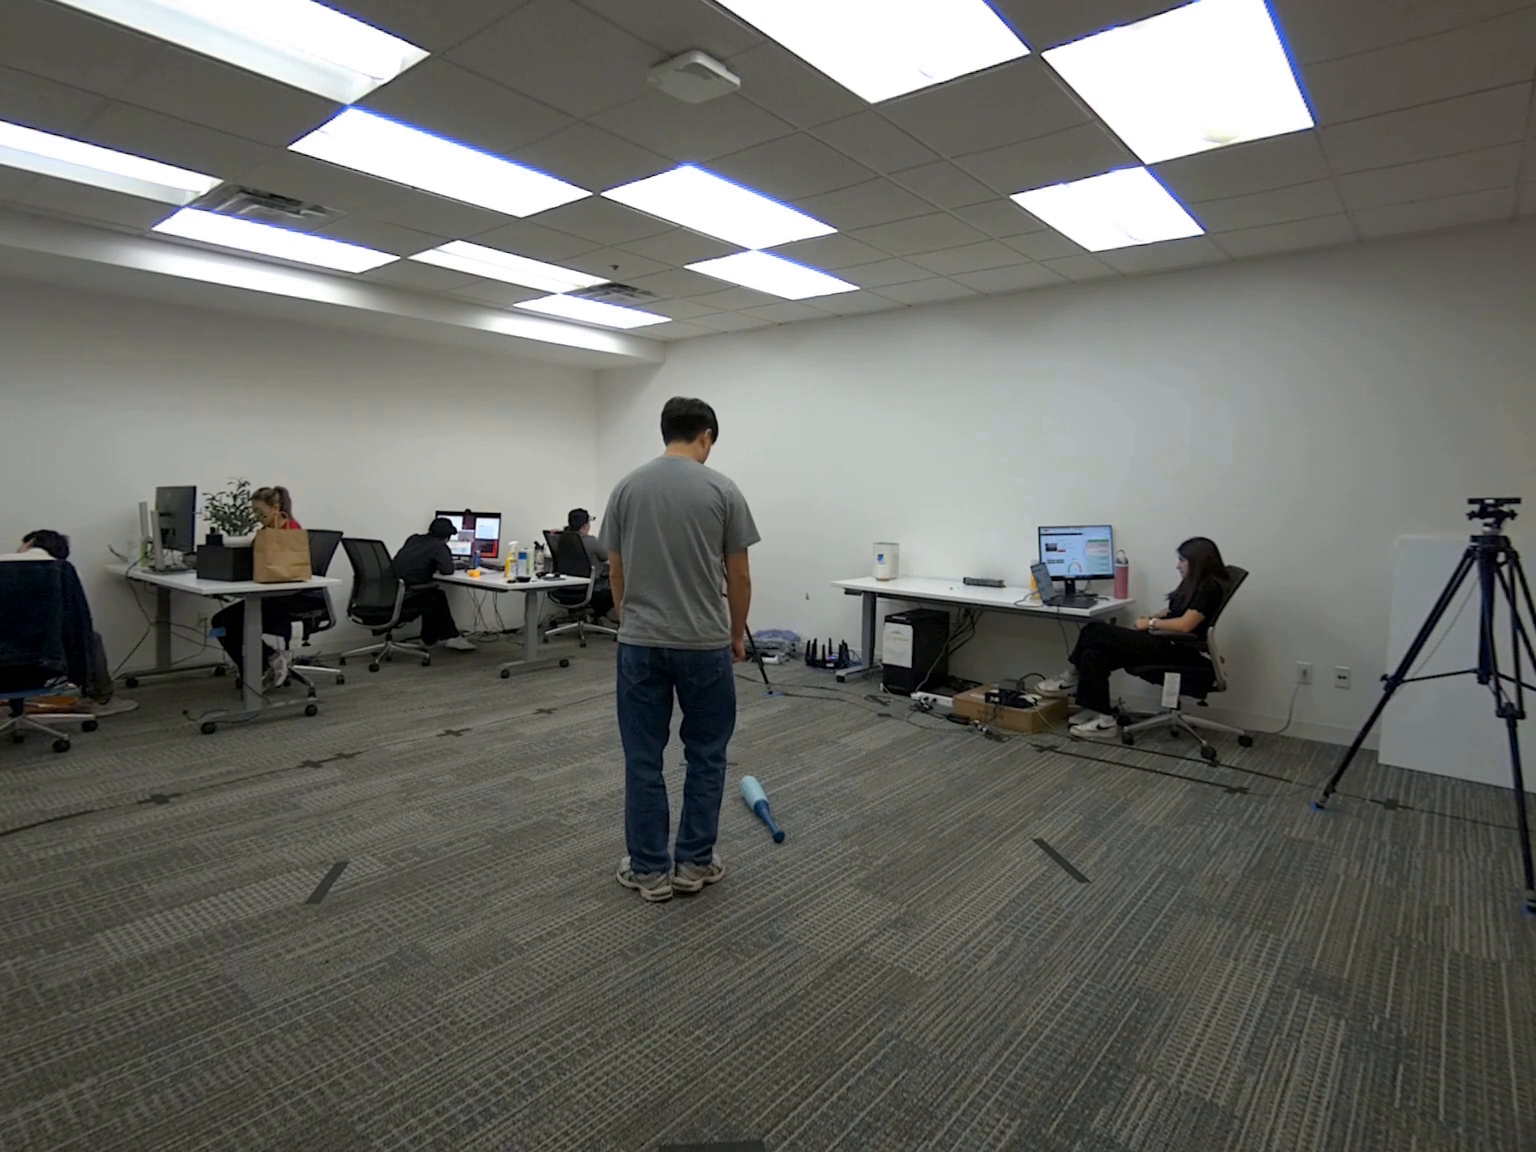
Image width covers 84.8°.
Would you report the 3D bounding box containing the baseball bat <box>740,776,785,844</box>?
[{"bbox_3d":[-0.034,0.986,3.605,0.088,0.088,0.553,0,9,-13],"label":"baseball bat"}]
